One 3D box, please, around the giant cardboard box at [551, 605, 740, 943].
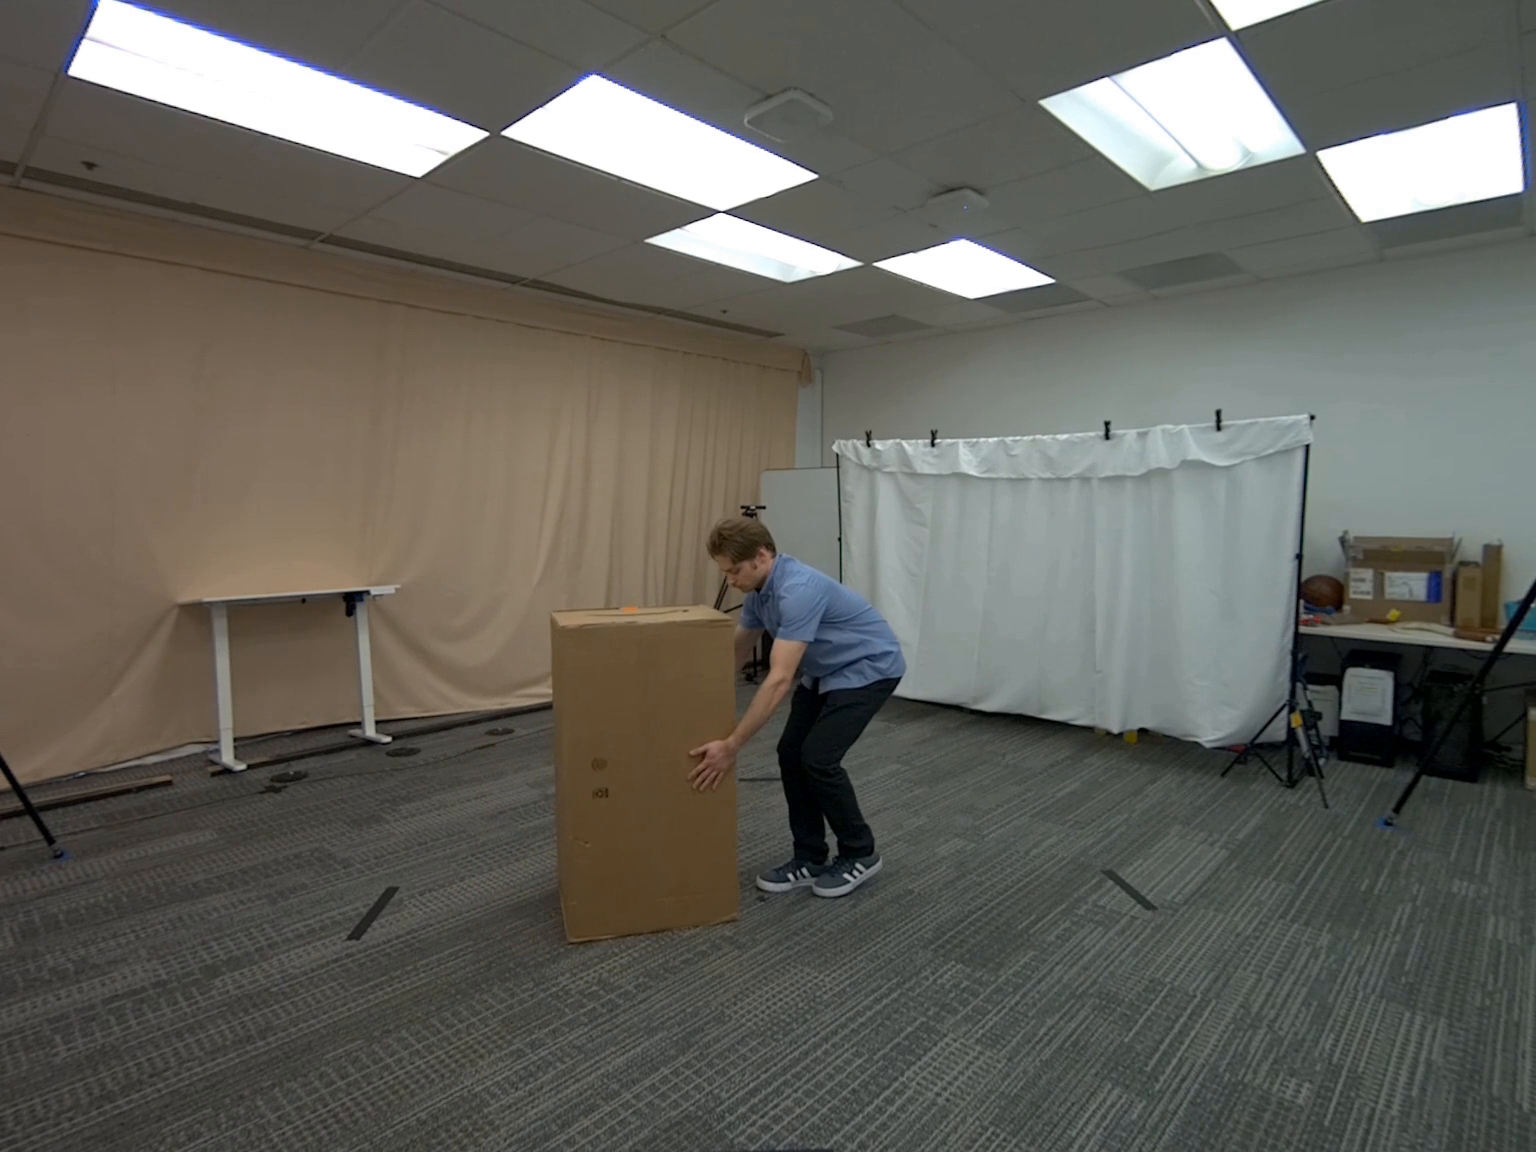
[{"bbox_3d":[-0.440,0.644,2.932,0.568,1.024,0.434,-1,3,-16],"label":"giant cardboard box"}]
